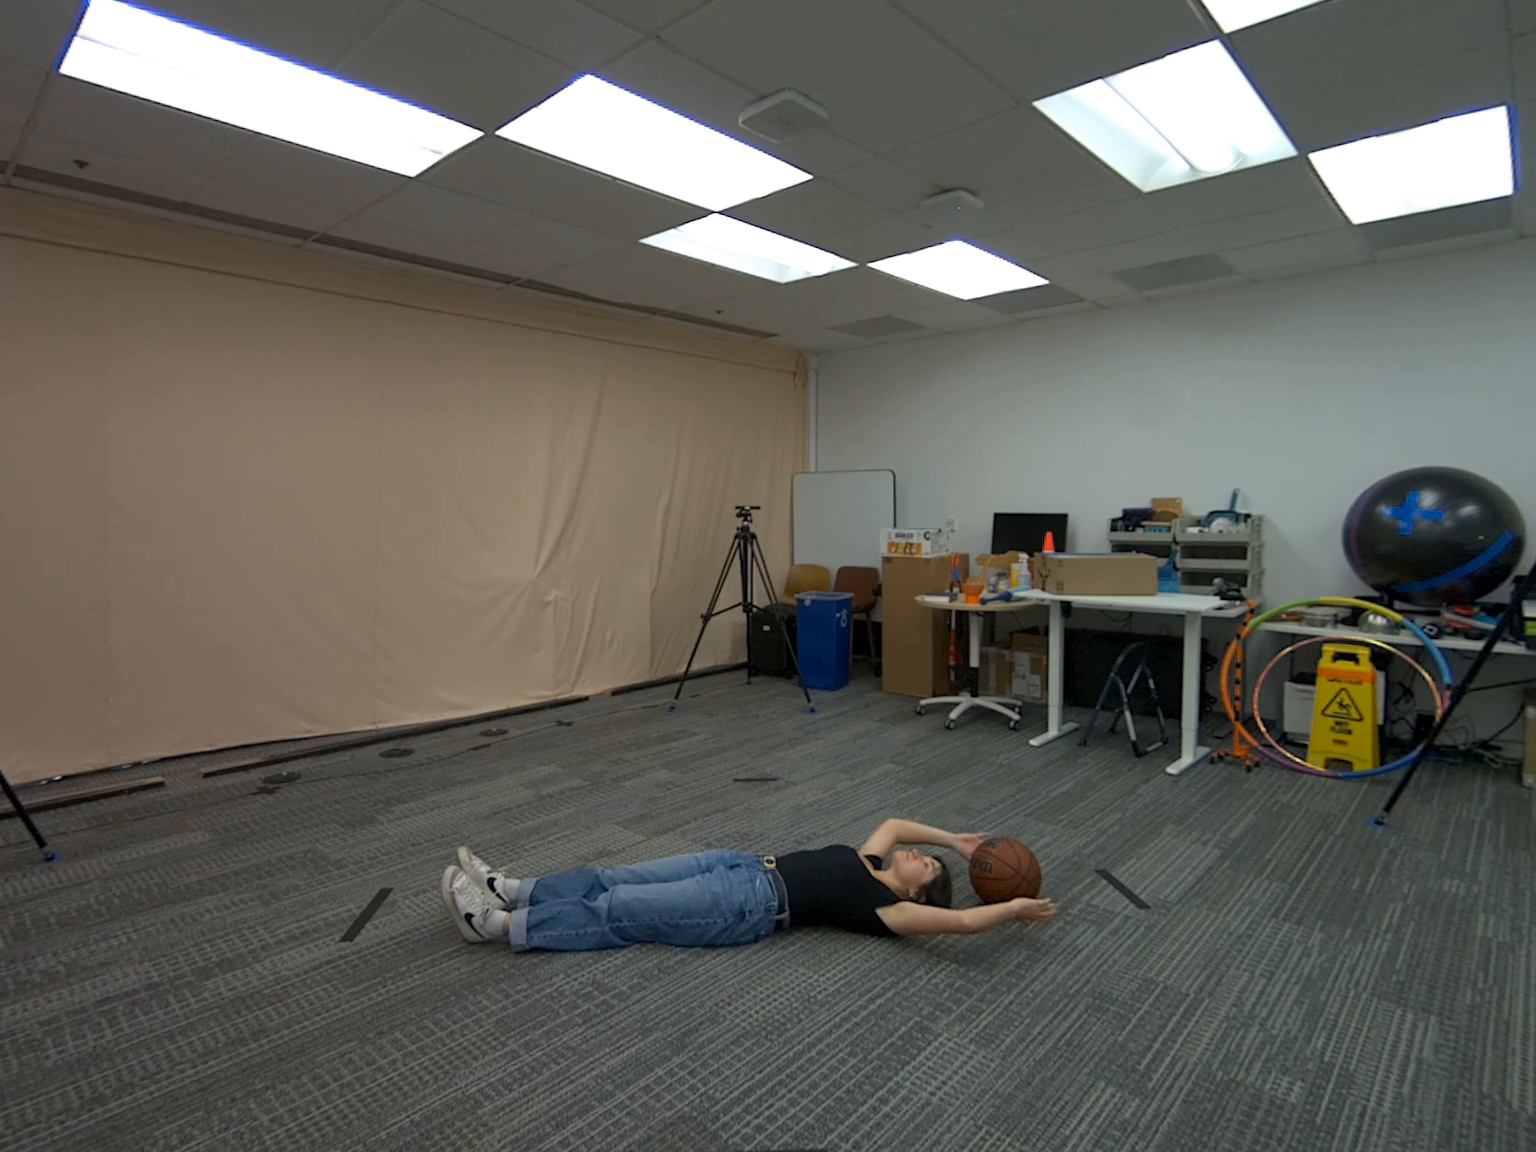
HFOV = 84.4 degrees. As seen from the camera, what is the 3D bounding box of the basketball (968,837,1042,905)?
[{"bbox_3d":[0.825,1.027,2.913,0.236,0.235,0.237,0,4,-2],"label":"basketball"}]
